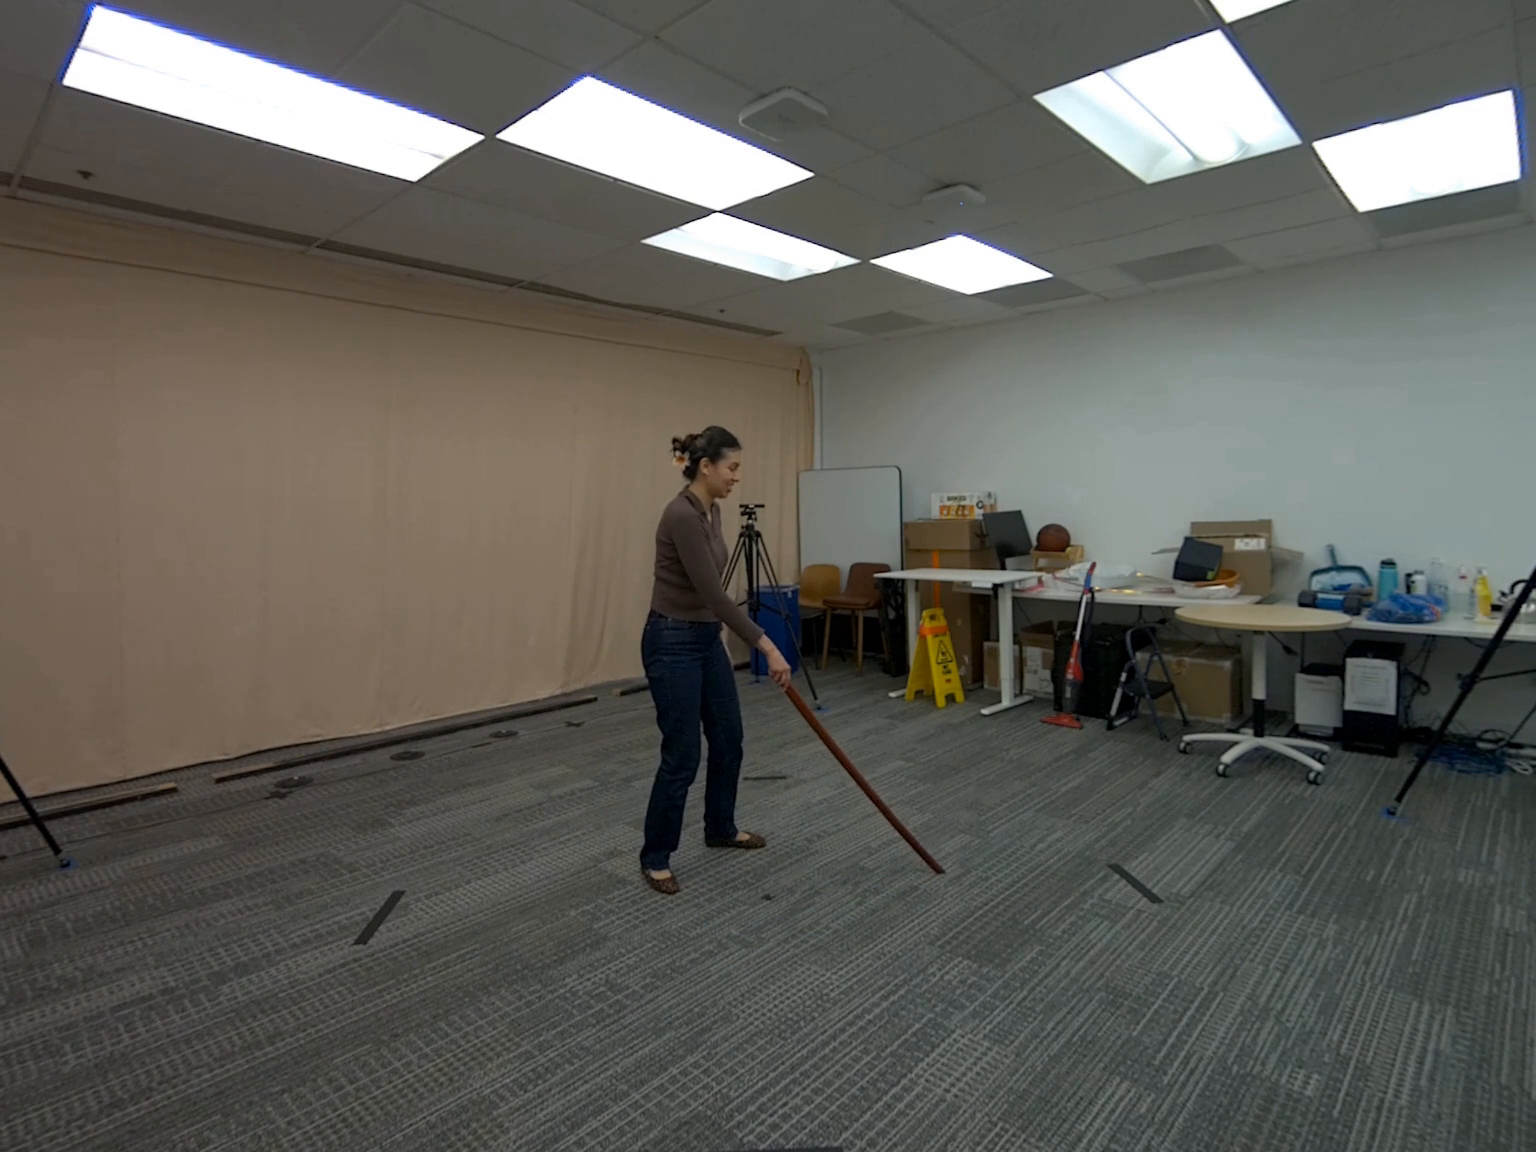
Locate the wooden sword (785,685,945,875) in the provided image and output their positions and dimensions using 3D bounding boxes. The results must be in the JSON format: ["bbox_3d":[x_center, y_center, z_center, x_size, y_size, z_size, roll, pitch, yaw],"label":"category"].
[{"bbox_3d":[0.346,0.739,3.065,0.052,1.010,0.024,-29,15,38],"label":"wooden sword"}]
